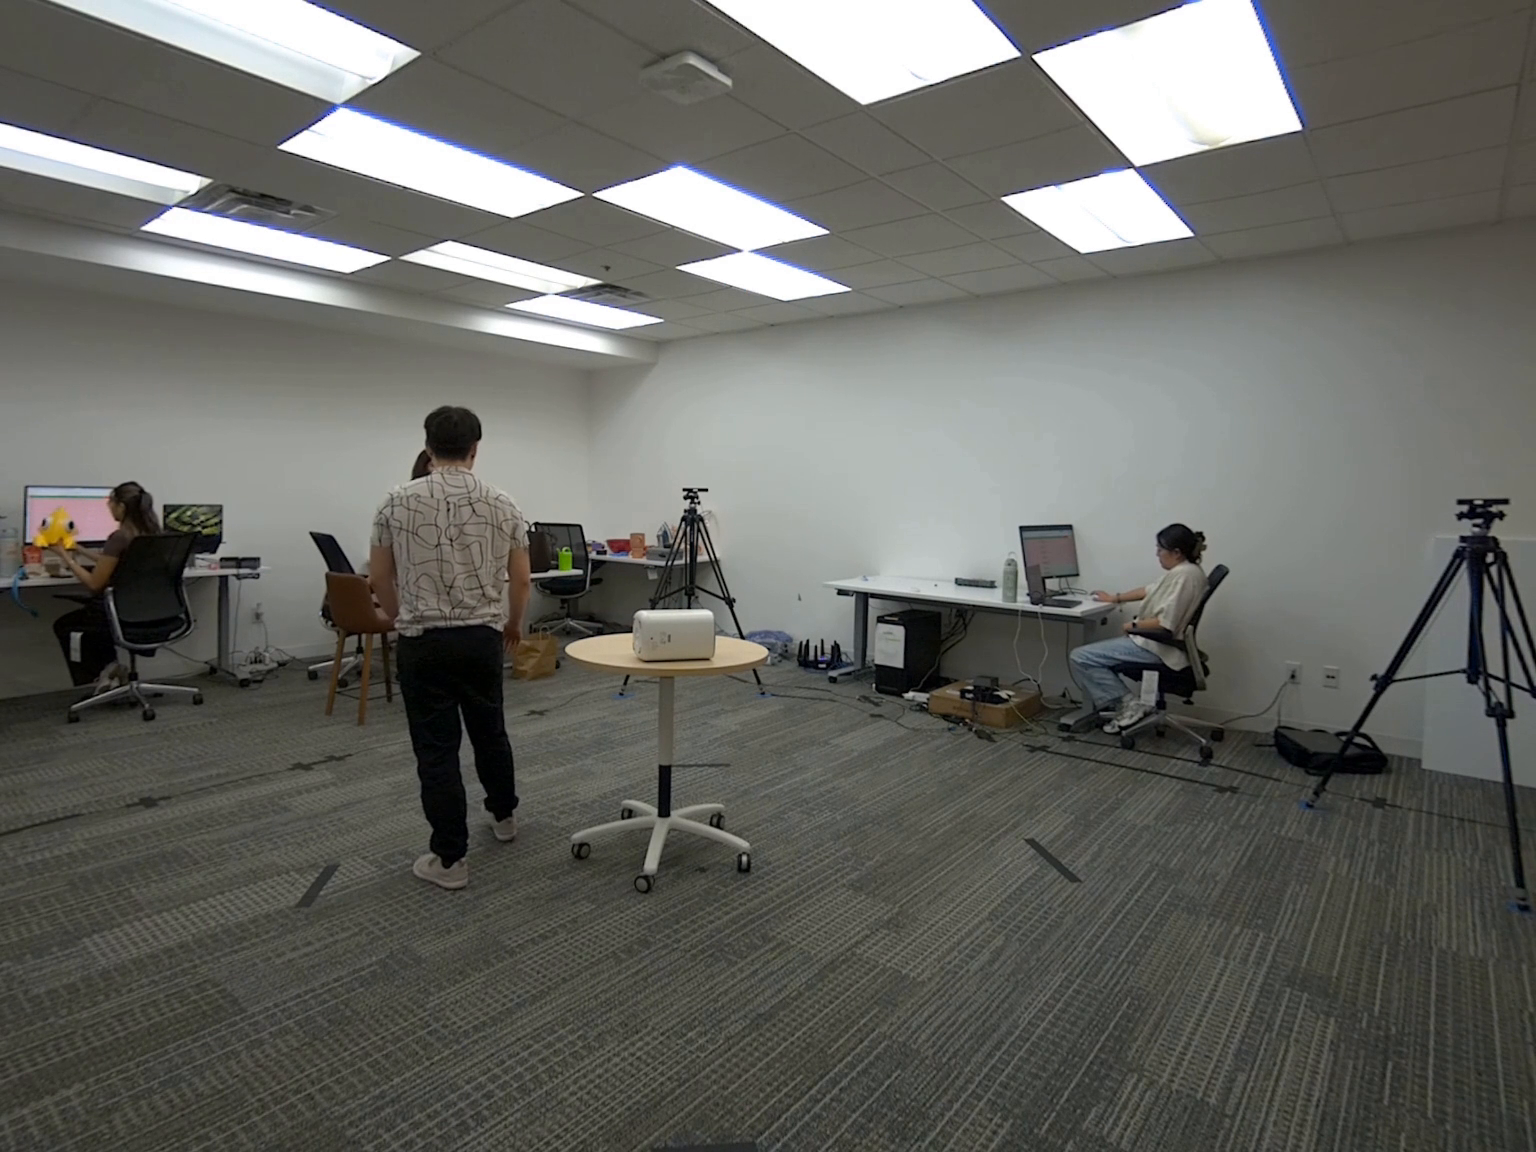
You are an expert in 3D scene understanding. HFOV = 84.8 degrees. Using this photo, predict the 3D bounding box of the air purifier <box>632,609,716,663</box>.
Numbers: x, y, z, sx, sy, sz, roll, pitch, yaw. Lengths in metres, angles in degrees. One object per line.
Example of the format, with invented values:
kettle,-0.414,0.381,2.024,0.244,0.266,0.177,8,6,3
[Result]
air purifier,-0.348,0.207,3.019,0.260,0.171,0.175,1,4,-20
